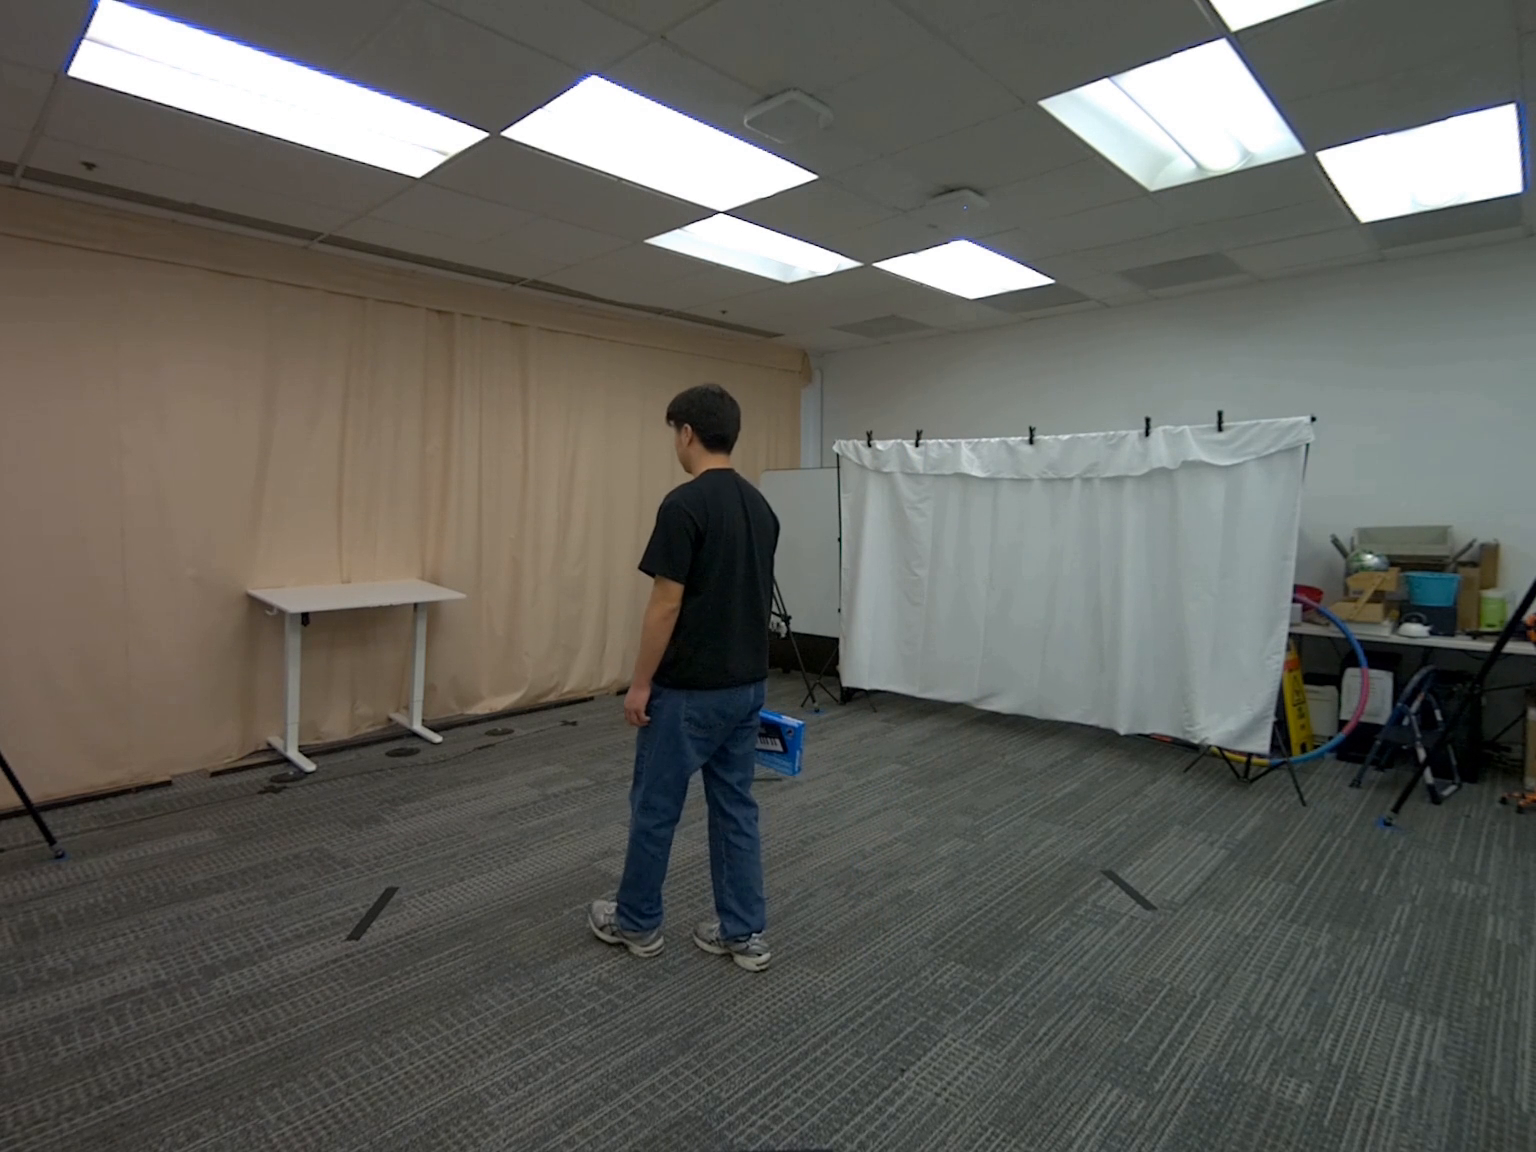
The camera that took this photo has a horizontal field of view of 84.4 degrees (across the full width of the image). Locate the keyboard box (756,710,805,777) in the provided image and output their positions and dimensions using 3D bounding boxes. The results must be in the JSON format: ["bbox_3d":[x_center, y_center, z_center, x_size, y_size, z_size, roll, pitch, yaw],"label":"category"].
[{"bbox_3d":[-0.081,0.532,2.876,0.451,0.175,0.057,11,11,32],"label":"keyboard box"}]
